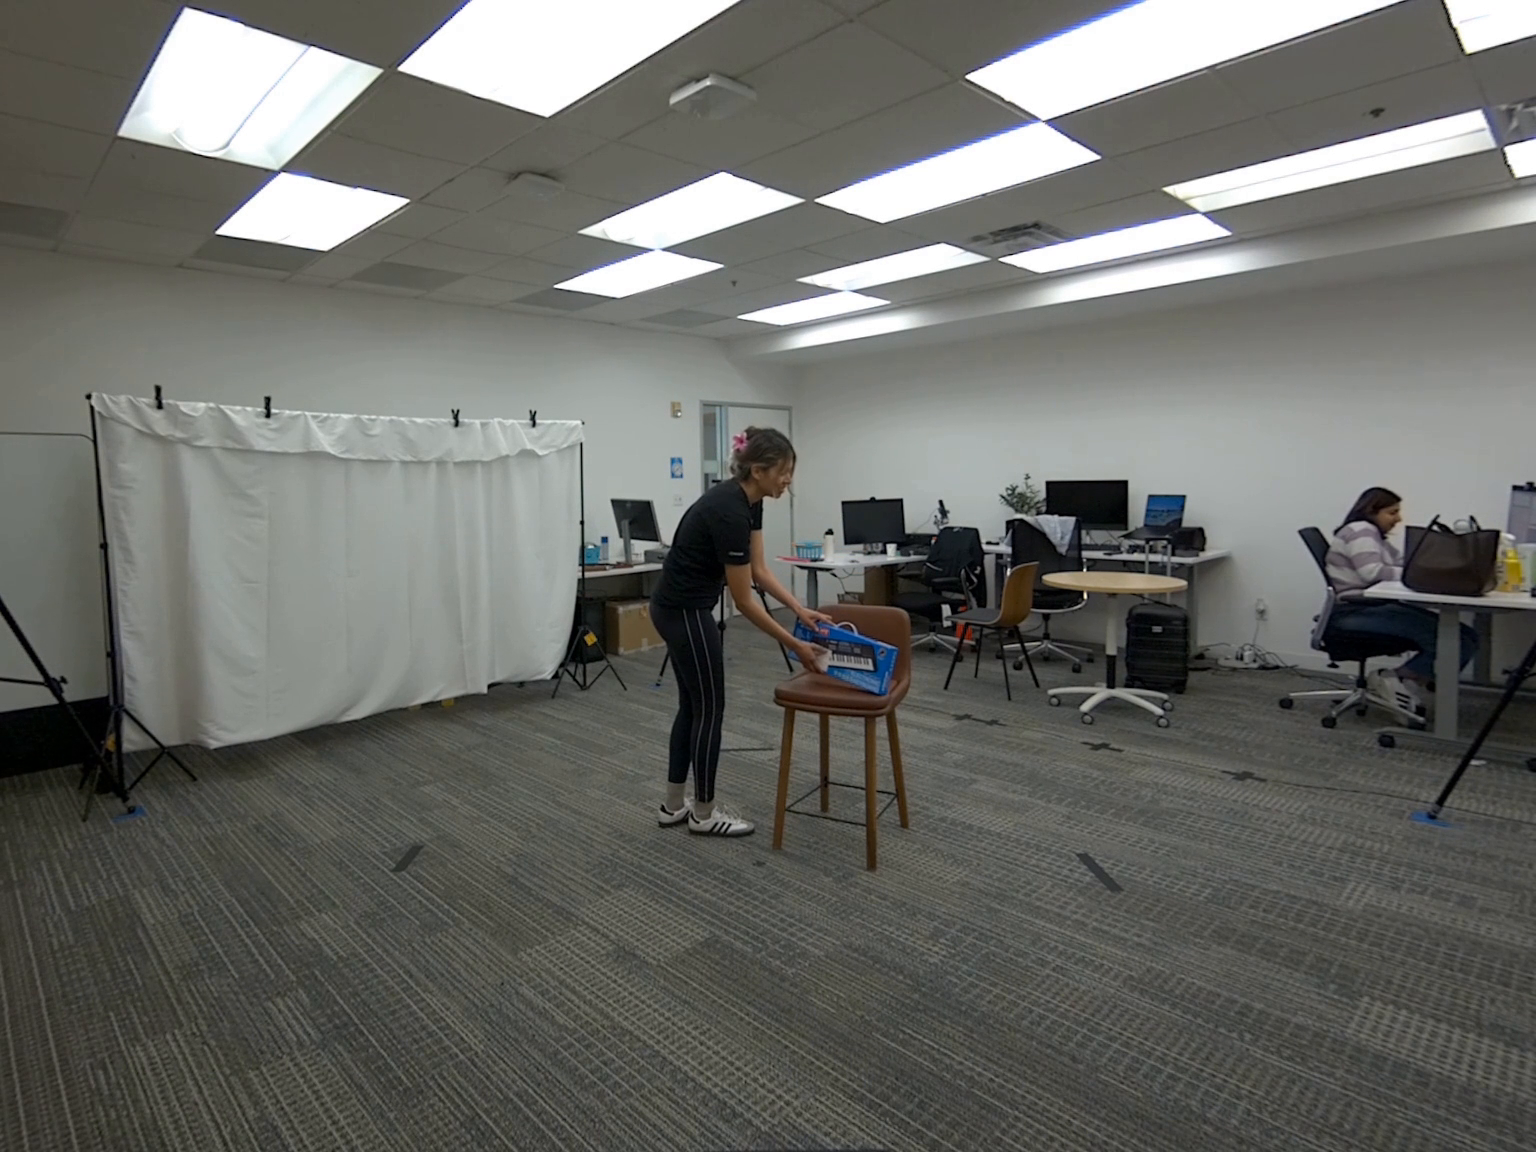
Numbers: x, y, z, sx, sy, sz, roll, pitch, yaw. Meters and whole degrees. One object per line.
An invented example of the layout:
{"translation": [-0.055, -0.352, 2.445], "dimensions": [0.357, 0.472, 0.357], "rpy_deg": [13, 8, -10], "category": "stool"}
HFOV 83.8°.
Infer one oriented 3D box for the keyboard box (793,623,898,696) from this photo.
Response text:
{"translation": [0.265, 0.295, 3.217], "dimensions": [0.452, 0.176, 0.057], "rpy_deg": [17, 3, 41], "category": "keyboard box"}
